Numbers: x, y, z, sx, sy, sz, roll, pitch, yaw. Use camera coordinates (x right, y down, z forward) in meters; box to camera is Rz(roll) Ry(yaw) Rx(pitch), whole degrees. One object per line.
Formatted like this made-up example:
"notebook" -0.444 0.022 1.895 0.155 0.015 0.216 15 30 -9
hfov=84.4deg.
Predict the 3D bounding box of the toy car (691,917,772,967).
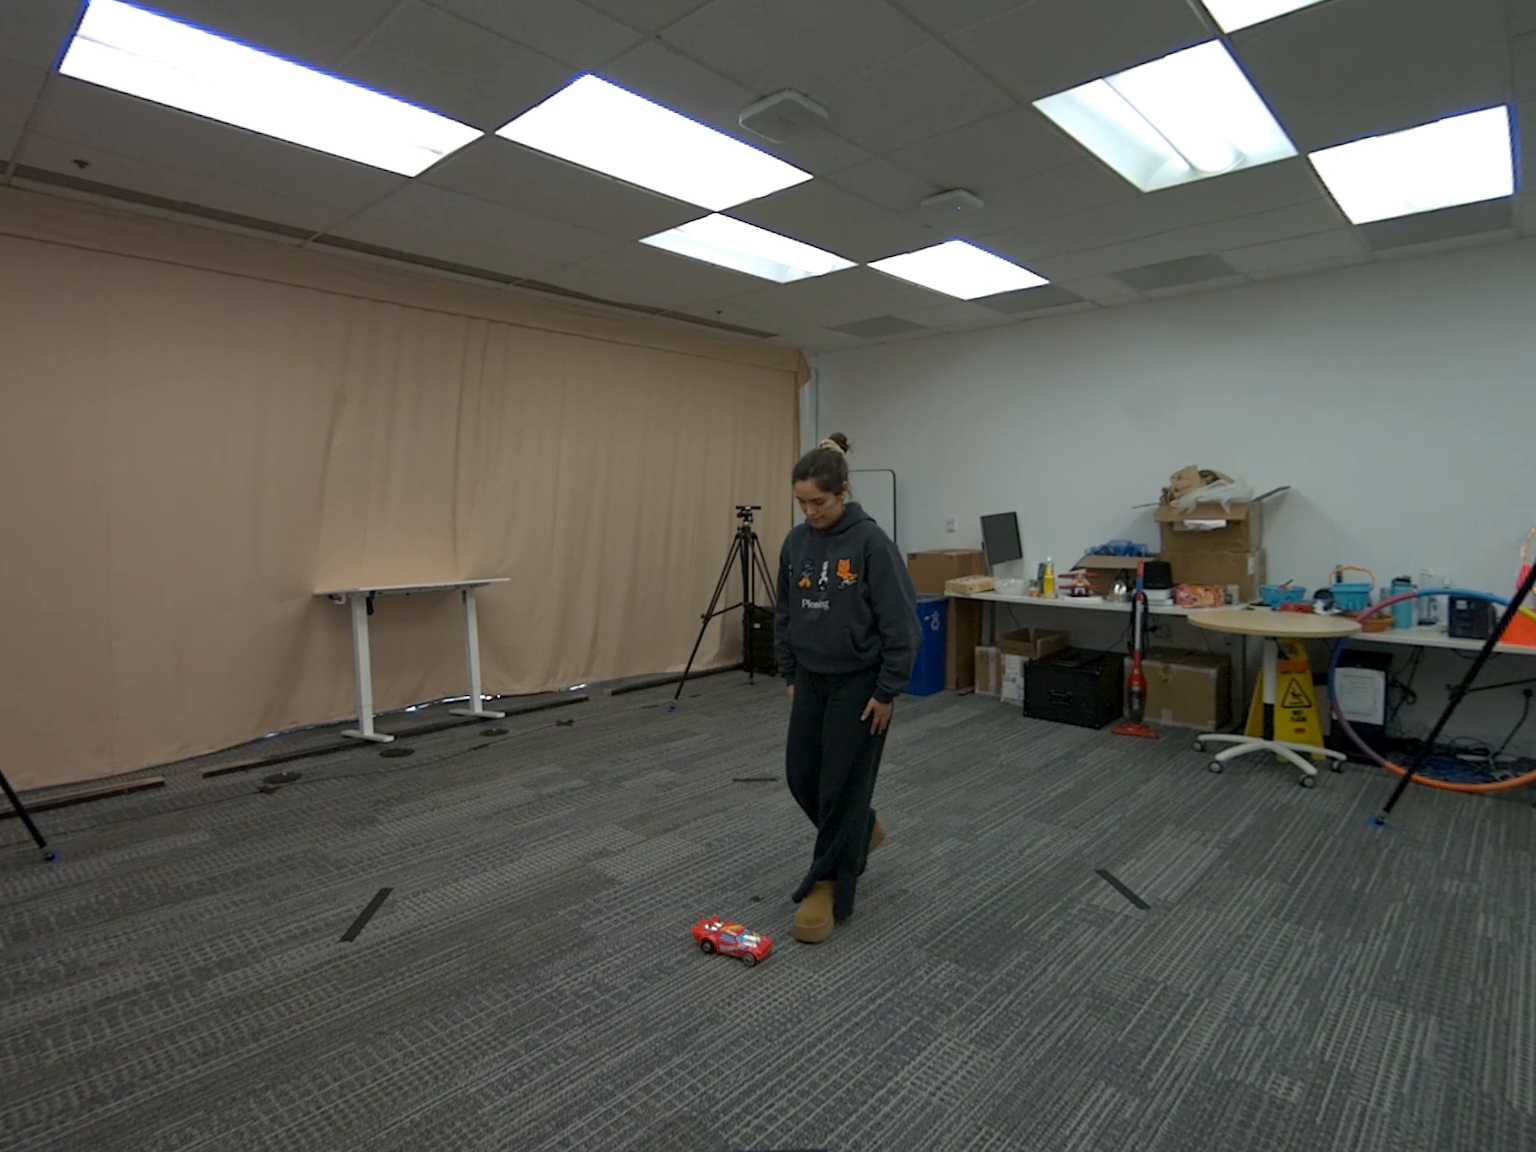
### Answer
"toy car" -0.094 1.143 2.636 0.262 0.083 0.127 13 11 28
